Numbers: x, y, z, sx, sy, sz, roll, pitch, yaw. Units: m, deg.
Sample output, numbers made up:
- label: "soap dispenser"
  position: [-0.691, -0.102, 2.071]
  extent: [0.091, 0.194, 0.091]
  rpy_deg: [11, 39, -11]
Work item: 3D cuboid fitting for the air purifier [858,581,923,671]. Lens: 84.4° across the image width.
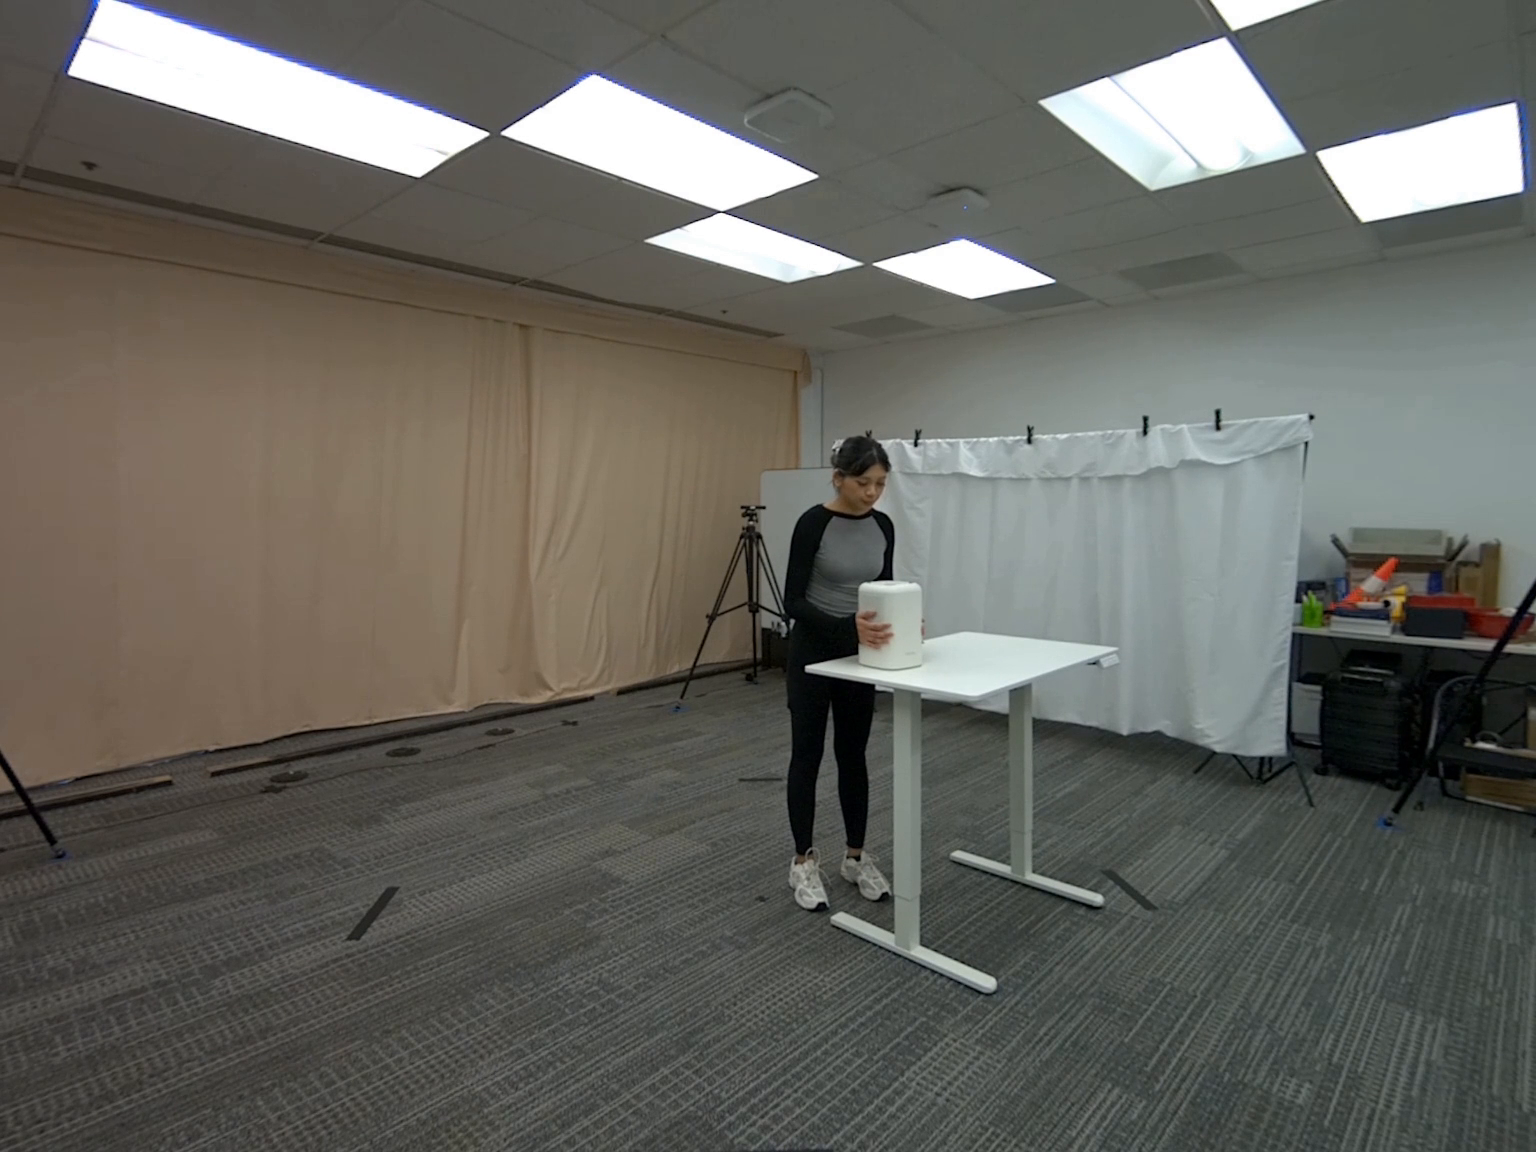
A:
- label: "air purifier"
  position: [0.394, 0.154, 2.702]
  extent: [0.166, 0.265, 0.177]
  rpy_deg: [-5, 4, -34]
